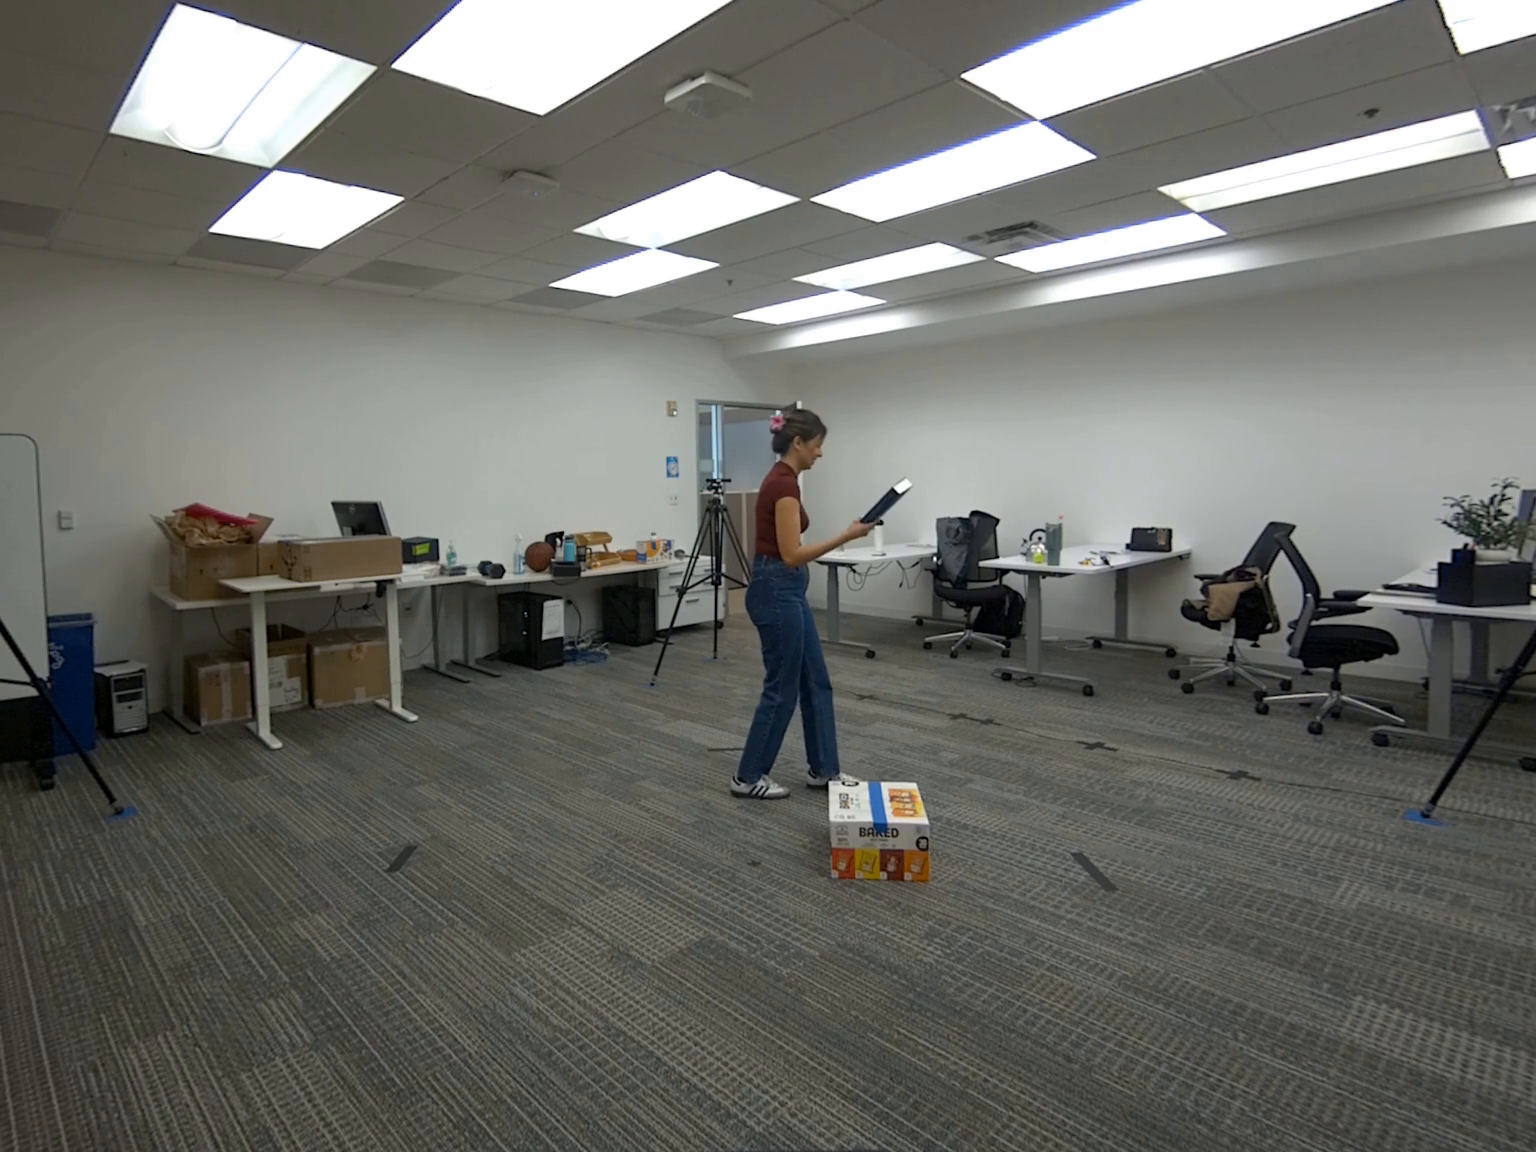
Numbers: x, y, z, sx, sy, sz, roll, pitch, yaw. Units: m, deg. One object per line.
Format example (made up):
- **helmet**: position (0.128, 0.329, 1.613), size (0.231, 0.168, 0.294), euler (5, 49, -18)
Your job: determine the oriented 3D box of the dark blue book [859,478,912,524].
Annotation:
- **dark blue book**: position (0.483, -0.287, 3.541), size (0.245, 0.046, 0.162), euler (-47, -8, 35)
